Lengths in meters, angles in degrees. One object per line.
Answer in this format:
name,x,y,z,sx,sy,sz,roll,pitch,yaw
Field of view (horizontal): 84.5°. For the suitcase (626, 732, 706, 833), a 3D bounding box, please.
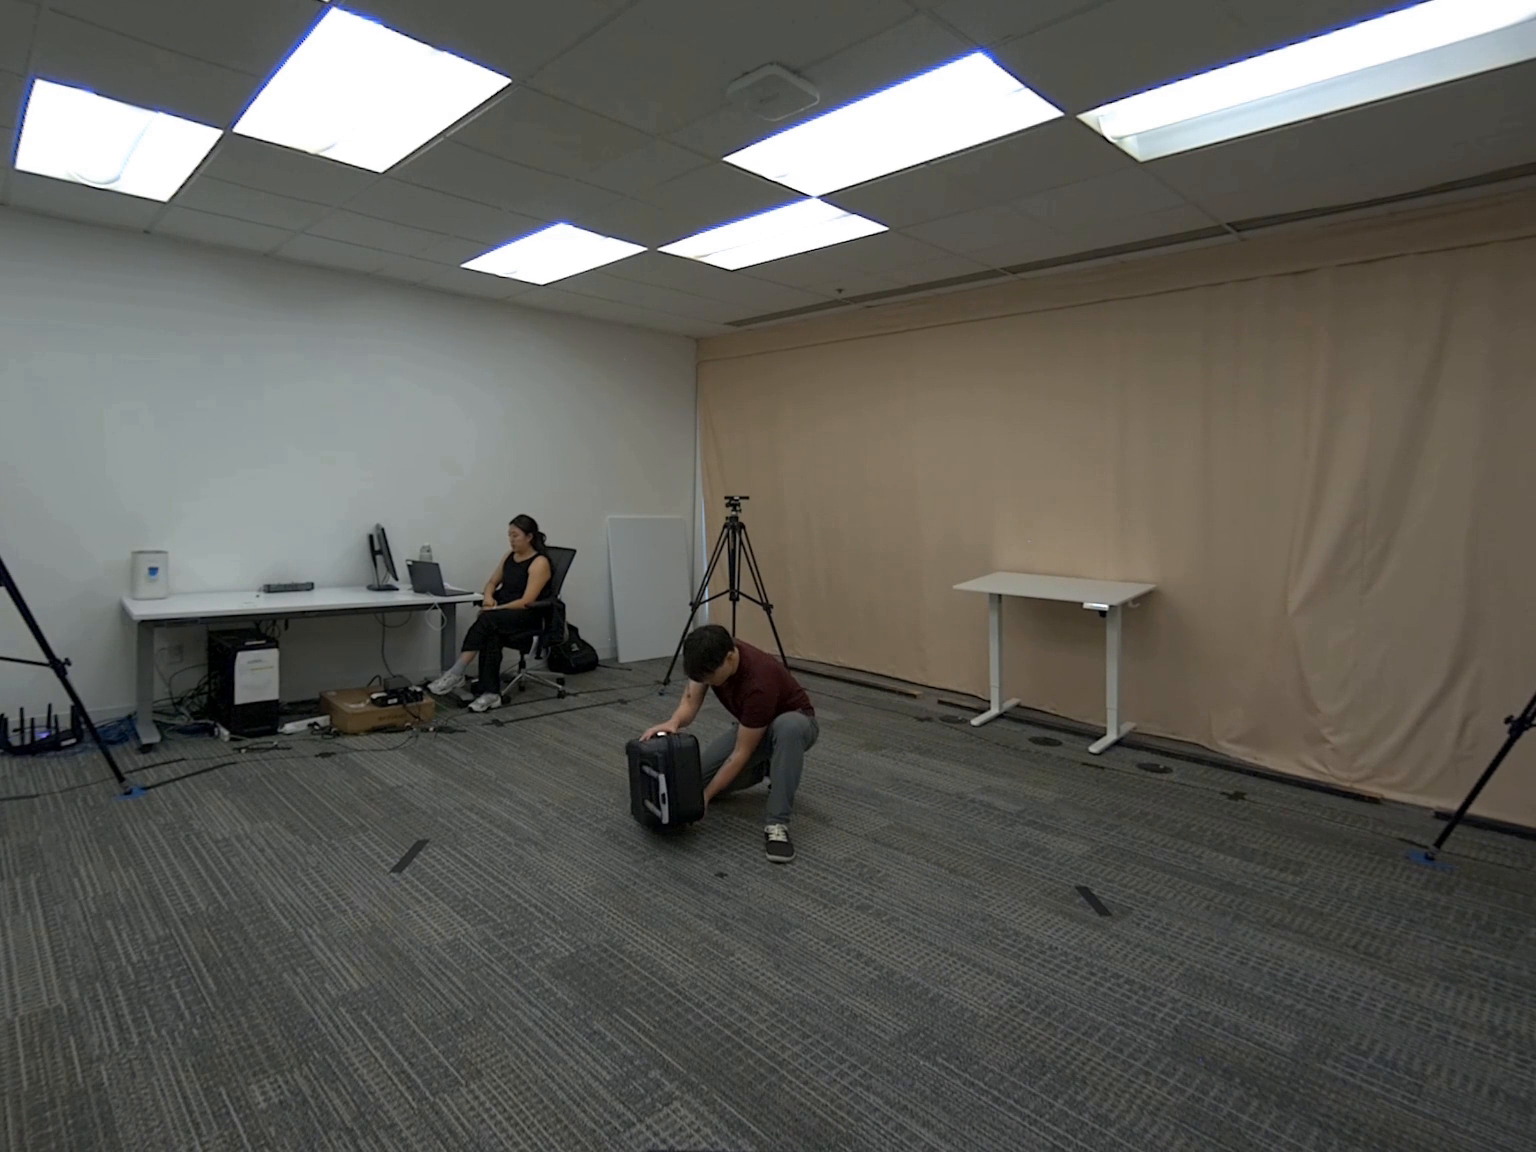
suitcase,-0.386,0.804,3.299,0.254,0.387,0.983,-3,-8,-17
